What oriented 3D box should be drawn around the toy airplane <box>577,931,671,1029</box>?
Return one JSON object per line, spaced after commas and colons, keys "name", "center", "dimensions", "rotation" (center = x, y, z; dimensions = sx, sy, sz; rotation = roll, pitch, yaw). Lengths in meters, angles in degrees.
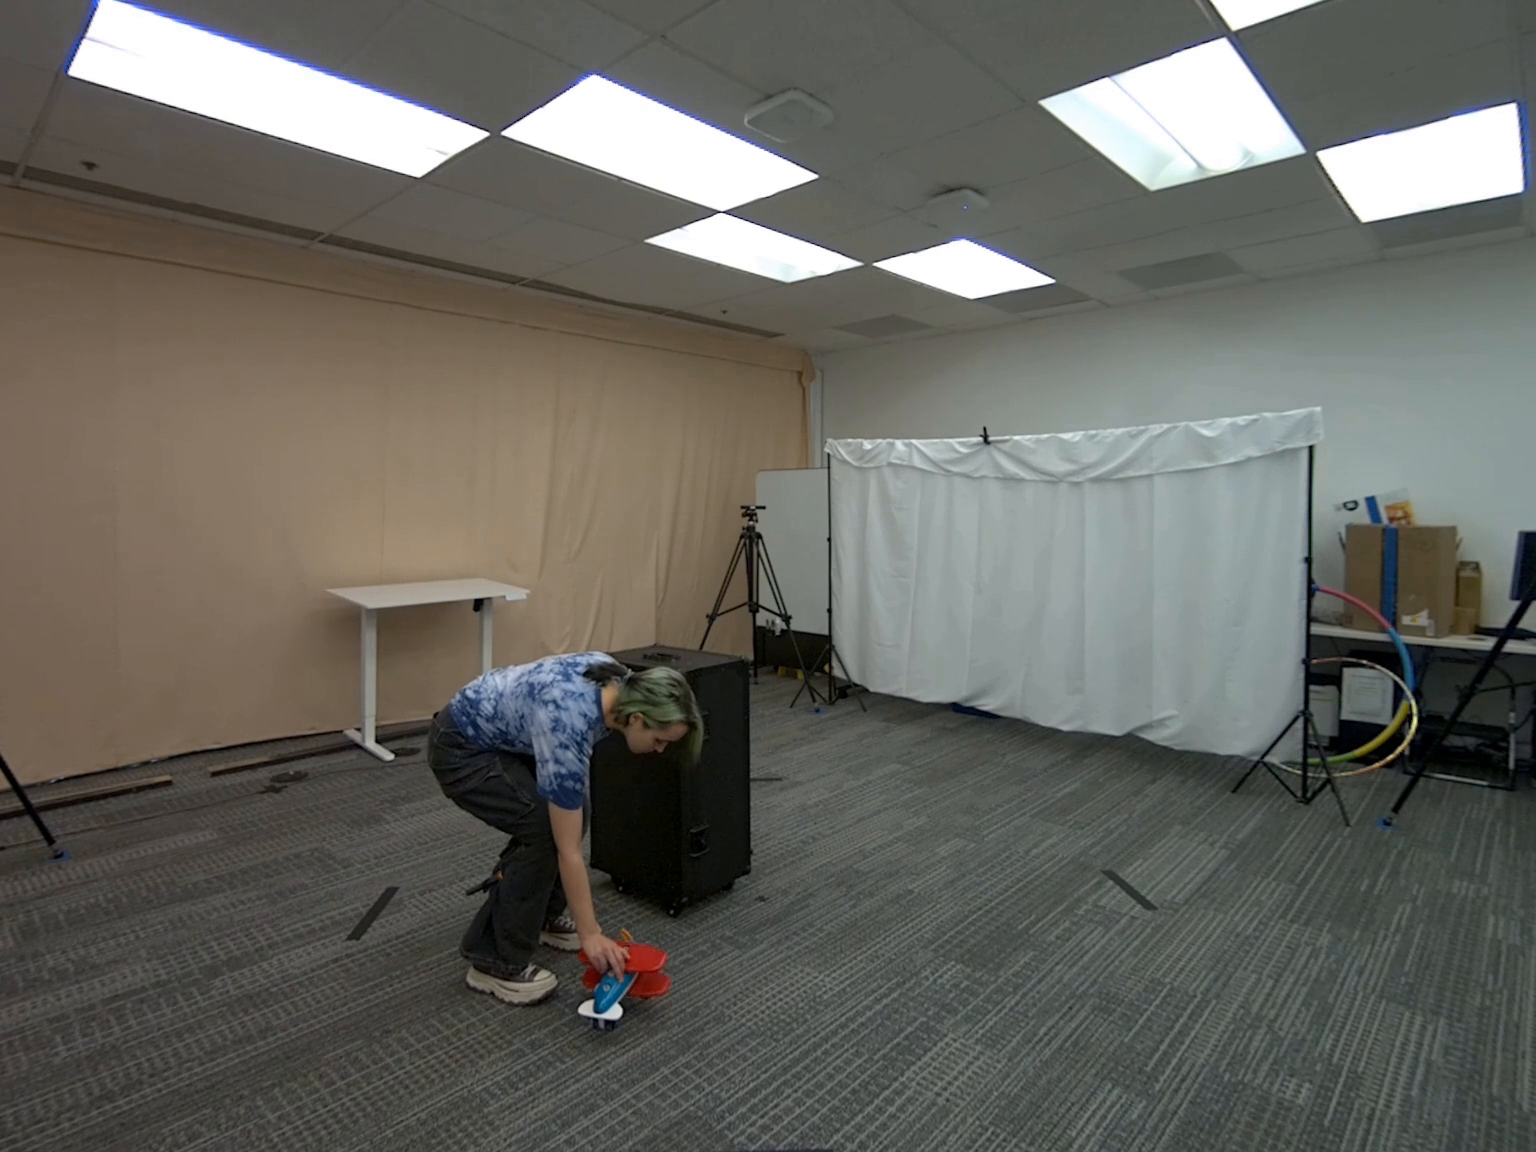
{"name": "toy airplane", "center": [-0.389, 1.095, 2.274], "dimensions": [0.249, 0.156, 0.262], "rotation": [-2, 1, -10]}
